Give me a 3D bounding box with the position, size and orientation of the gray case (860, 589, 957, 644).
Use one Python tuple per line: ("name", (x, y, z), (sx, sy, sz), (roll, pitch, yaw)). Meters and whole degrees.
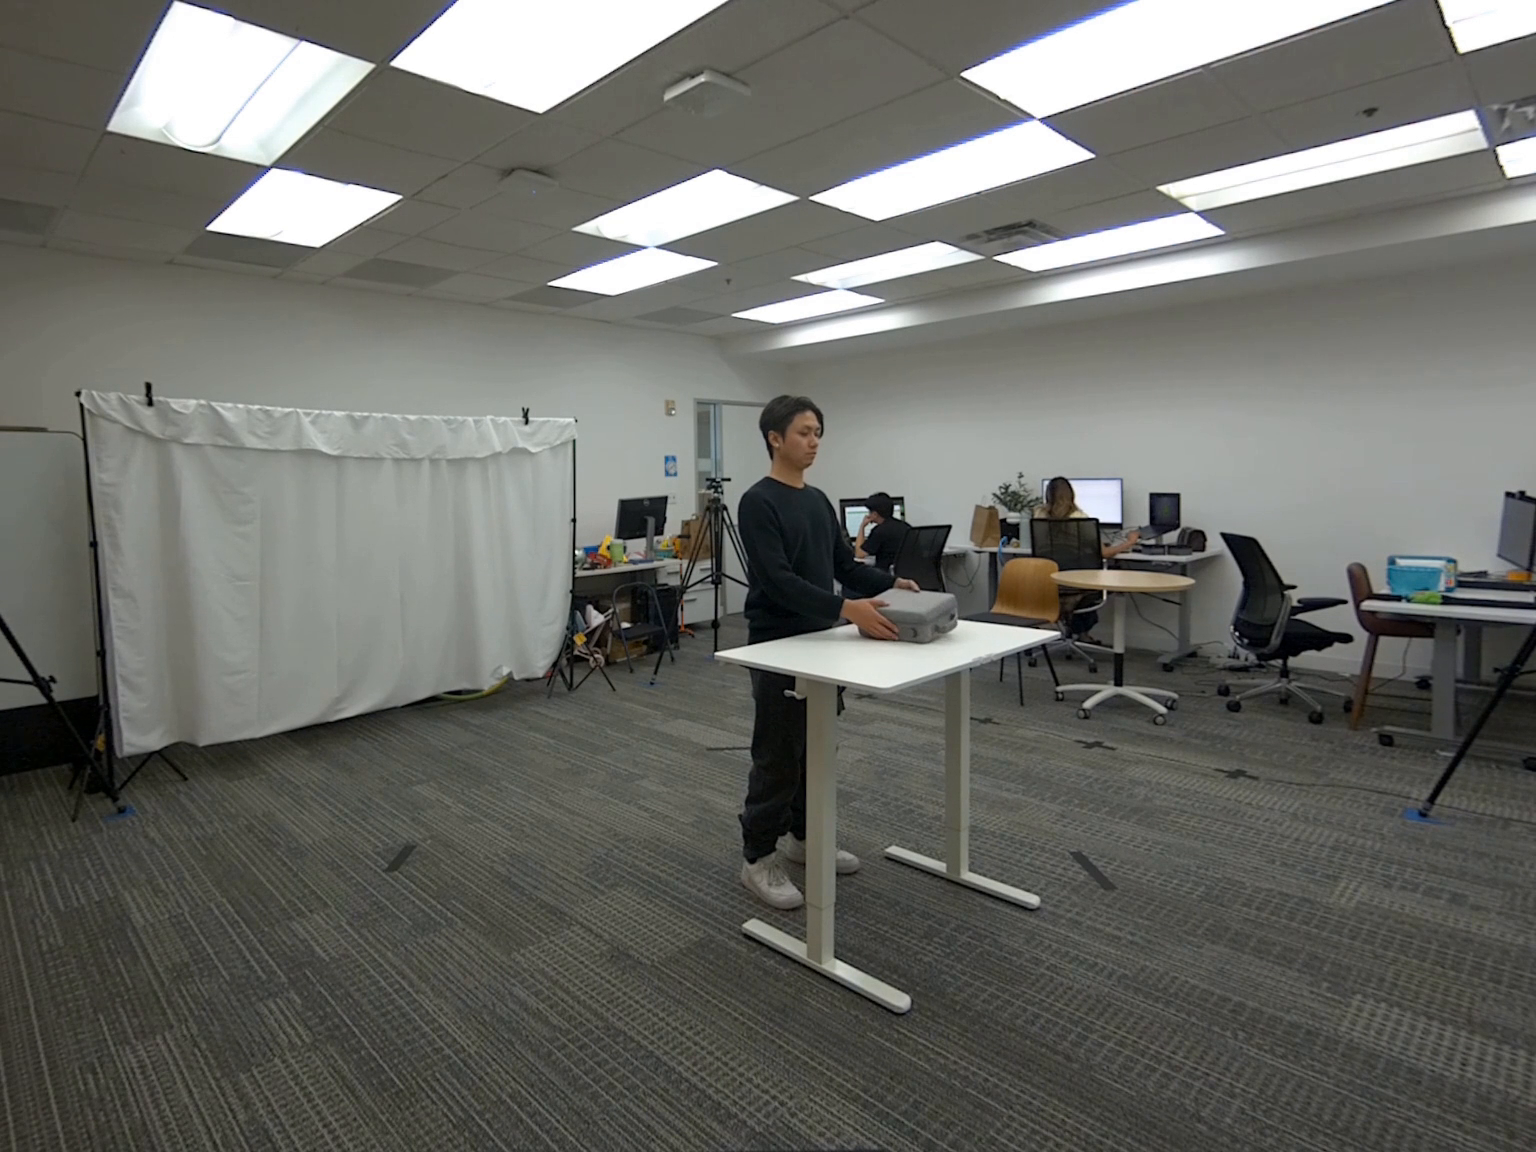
("gray case", (0.448, 0.124, 2.744), (0.269, 0.103, 0.251), (5, 15, 41))
